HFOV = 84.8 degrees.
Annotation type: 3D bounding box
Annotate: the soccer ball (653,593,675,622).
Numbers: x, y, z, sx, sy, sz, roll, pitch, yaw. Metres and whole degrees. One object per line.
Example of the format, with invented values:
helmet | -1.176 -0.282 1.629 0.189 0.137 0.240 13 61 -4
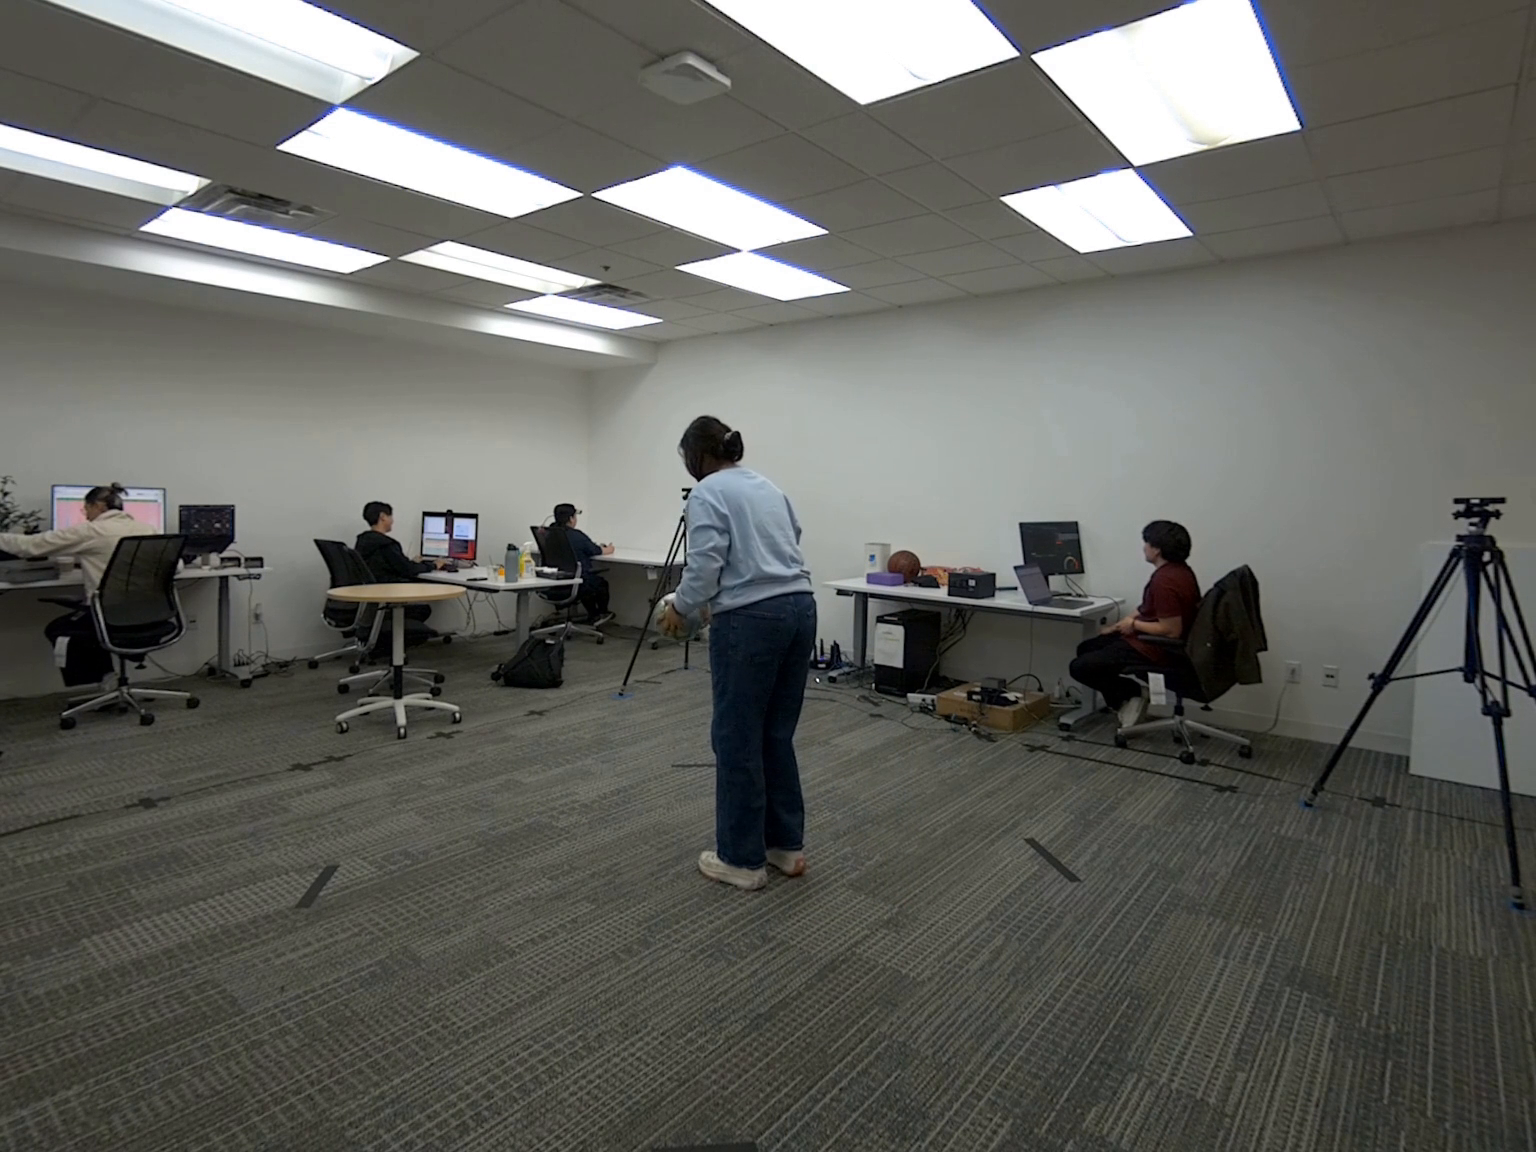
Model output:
soccer ball | -0.340 0.150 3.215 0.187 0.187 0.188 1 4 -2
